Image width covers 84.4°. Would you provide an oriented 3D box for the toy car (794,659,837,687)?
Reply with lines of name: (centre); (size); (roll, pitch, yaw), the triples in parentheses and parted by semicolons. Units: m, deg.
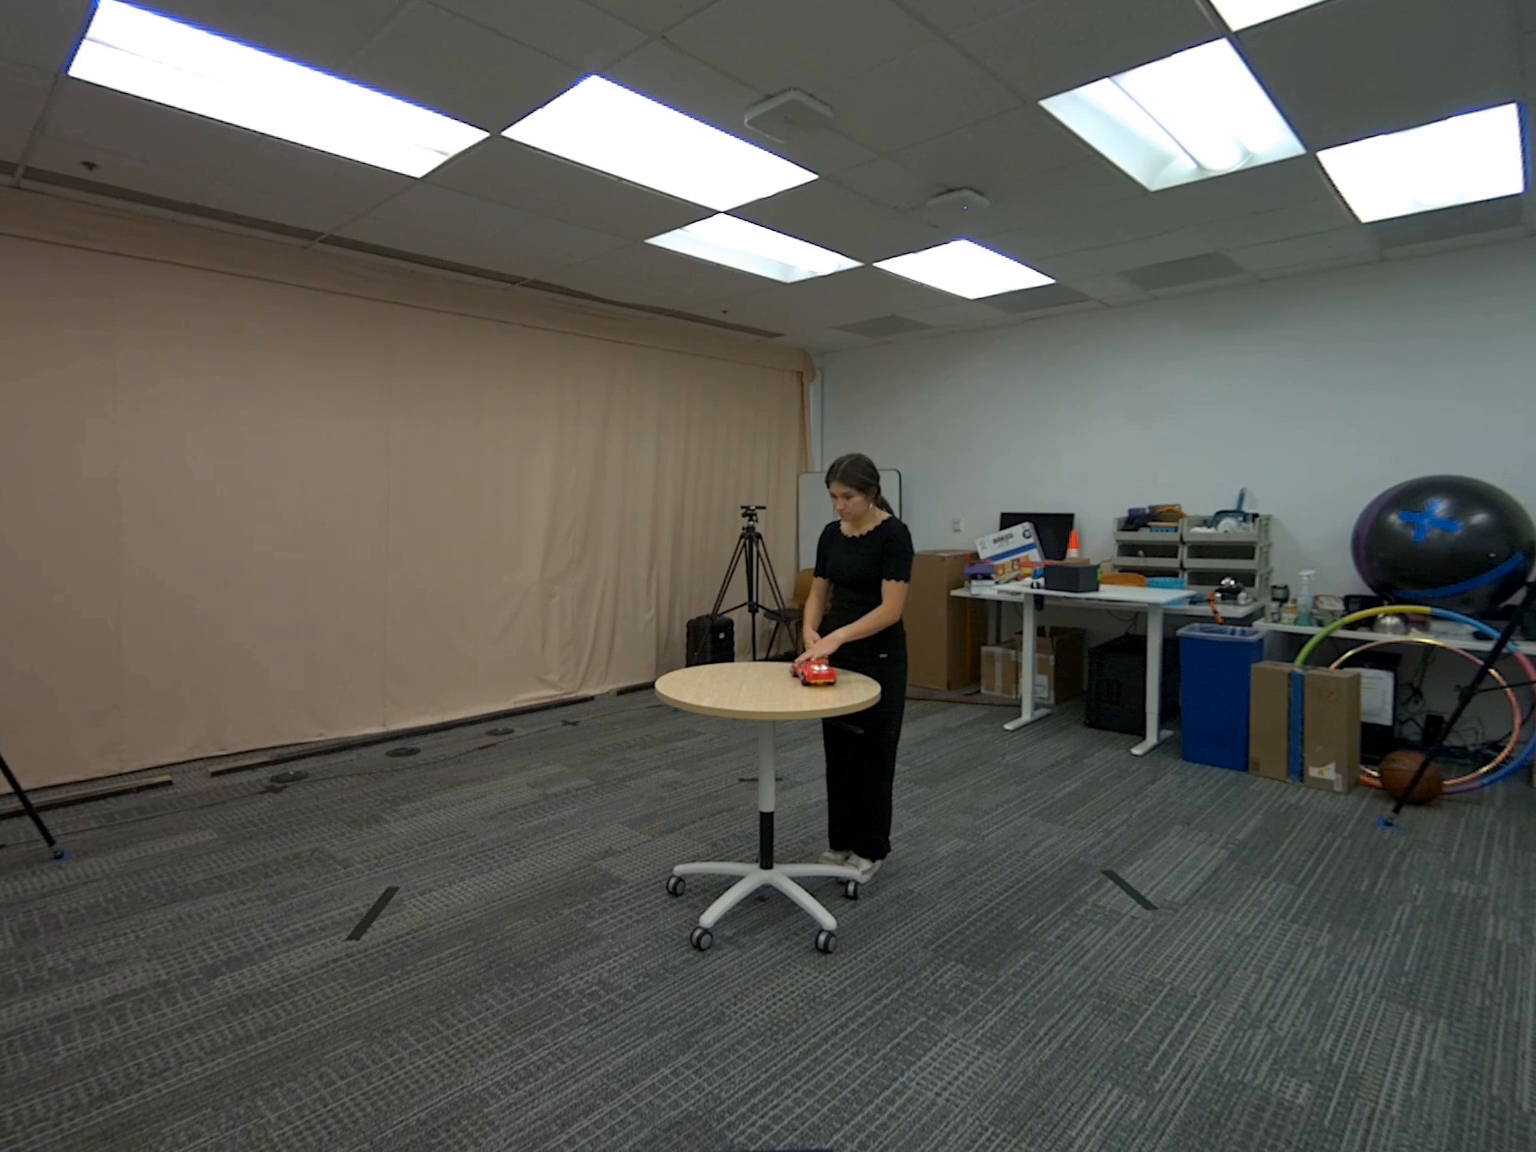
toy car: (0.160, 0.336, 2.903); (0.129, 0.083, 0.256); (0, -7, -12)
